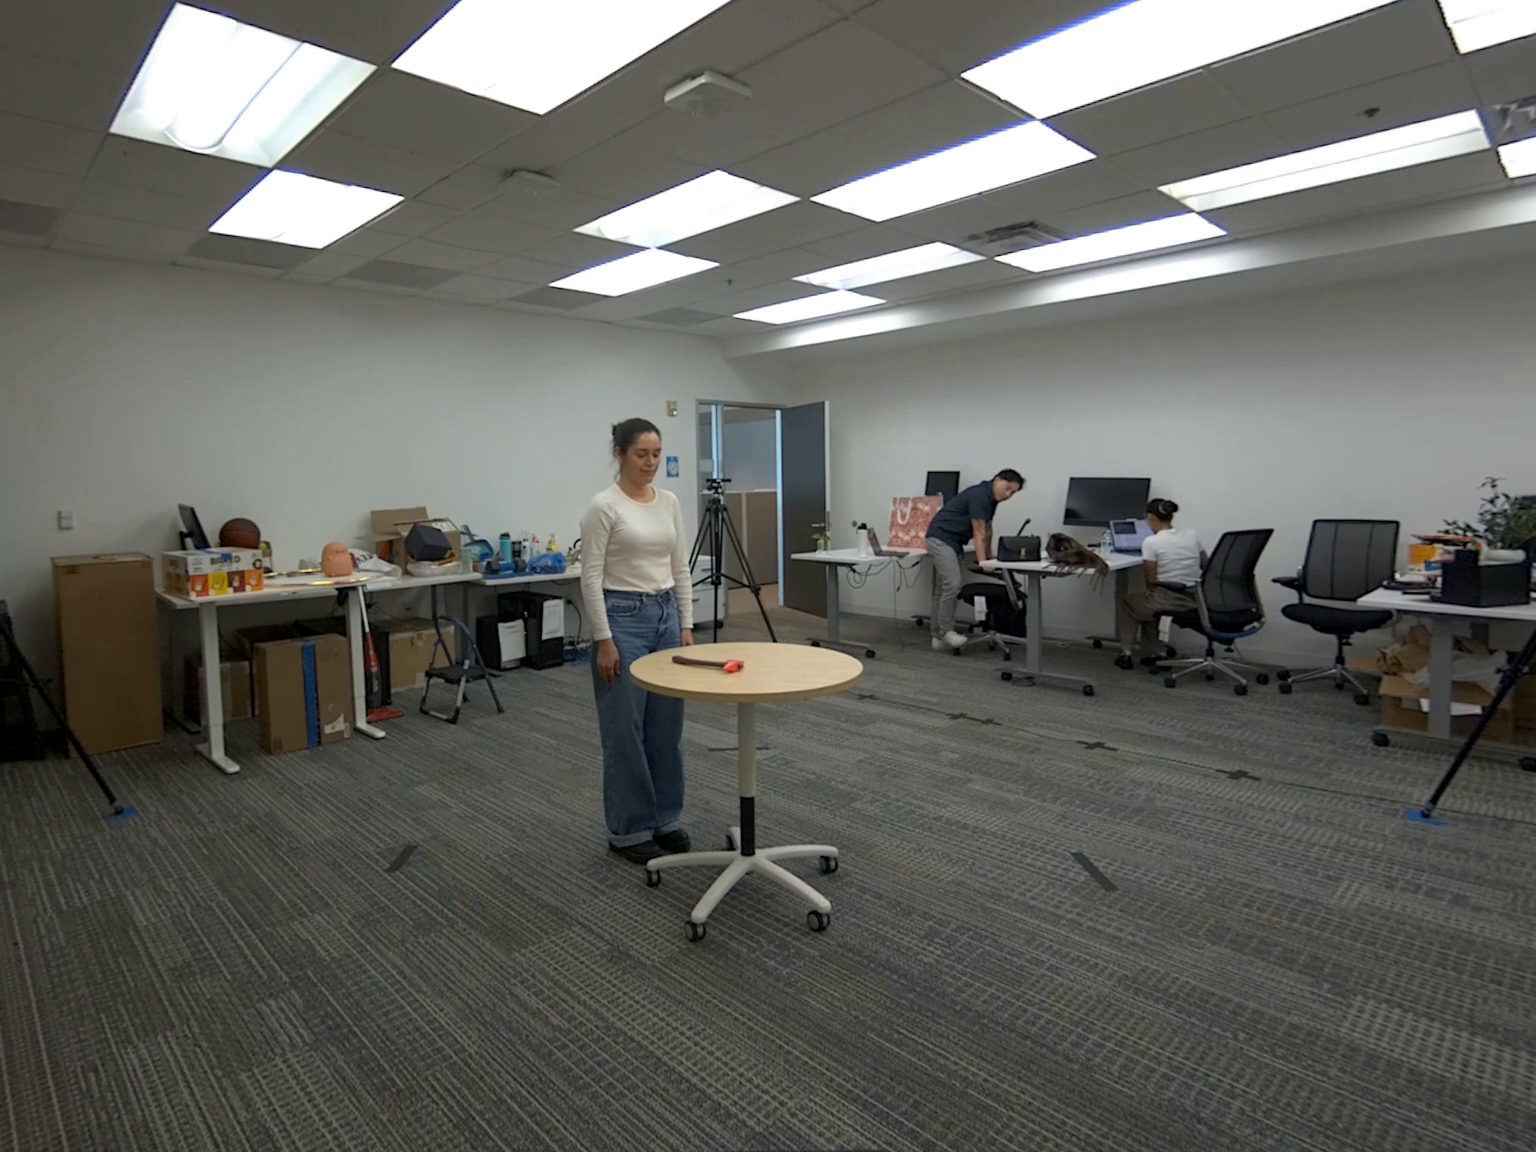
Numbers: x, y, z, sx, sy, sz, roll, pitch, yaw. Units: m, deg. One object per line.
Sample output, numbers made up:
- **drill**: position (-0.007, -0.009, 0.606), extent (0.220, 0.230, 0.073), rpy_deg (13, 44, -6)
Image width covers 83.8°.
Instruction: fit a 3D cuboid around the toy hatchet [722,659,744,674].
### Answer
- **toy hatchet**: position (-0.186, 0.284, 2.814), extent (0.278, 0.029, 0.127), rpy_deg (4, 6, 44)
